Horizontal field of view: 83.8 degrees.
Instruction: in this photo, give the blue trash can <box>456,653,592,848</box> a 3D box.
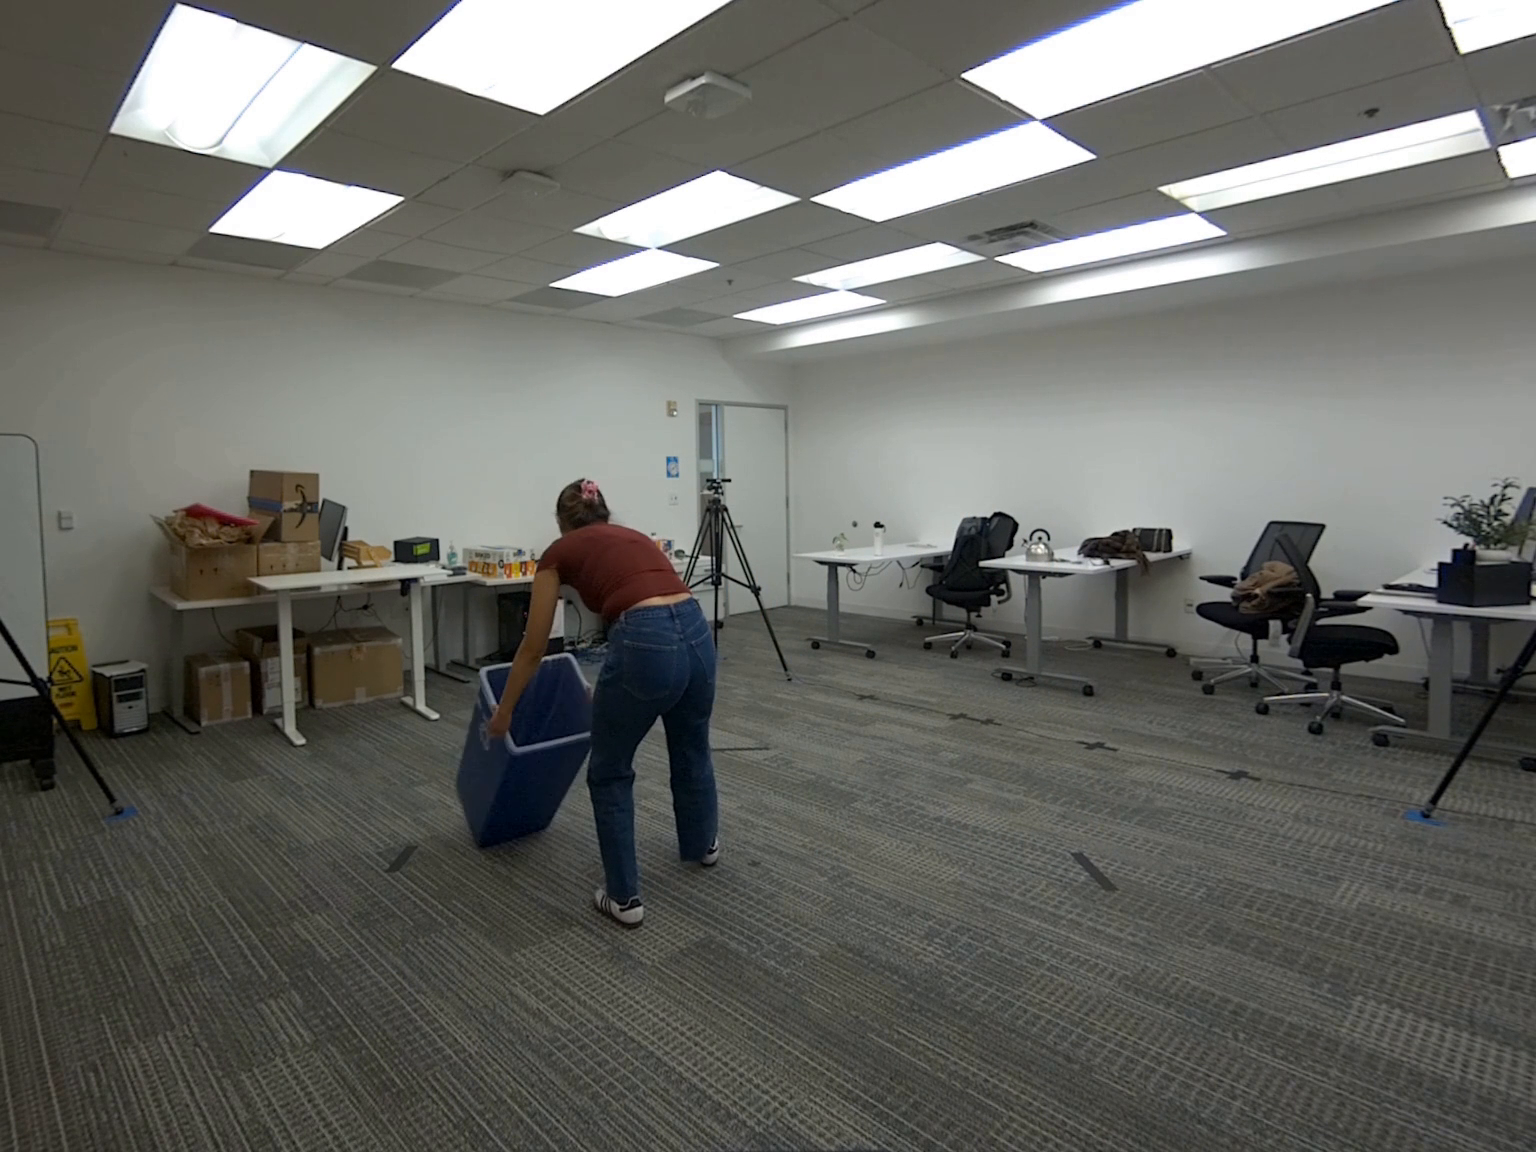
[{"bbox_3d":[-0.911,0.685,3.228,0.369,0.706,0.387,-7,48,-38],"label":"blue trash can"}]
